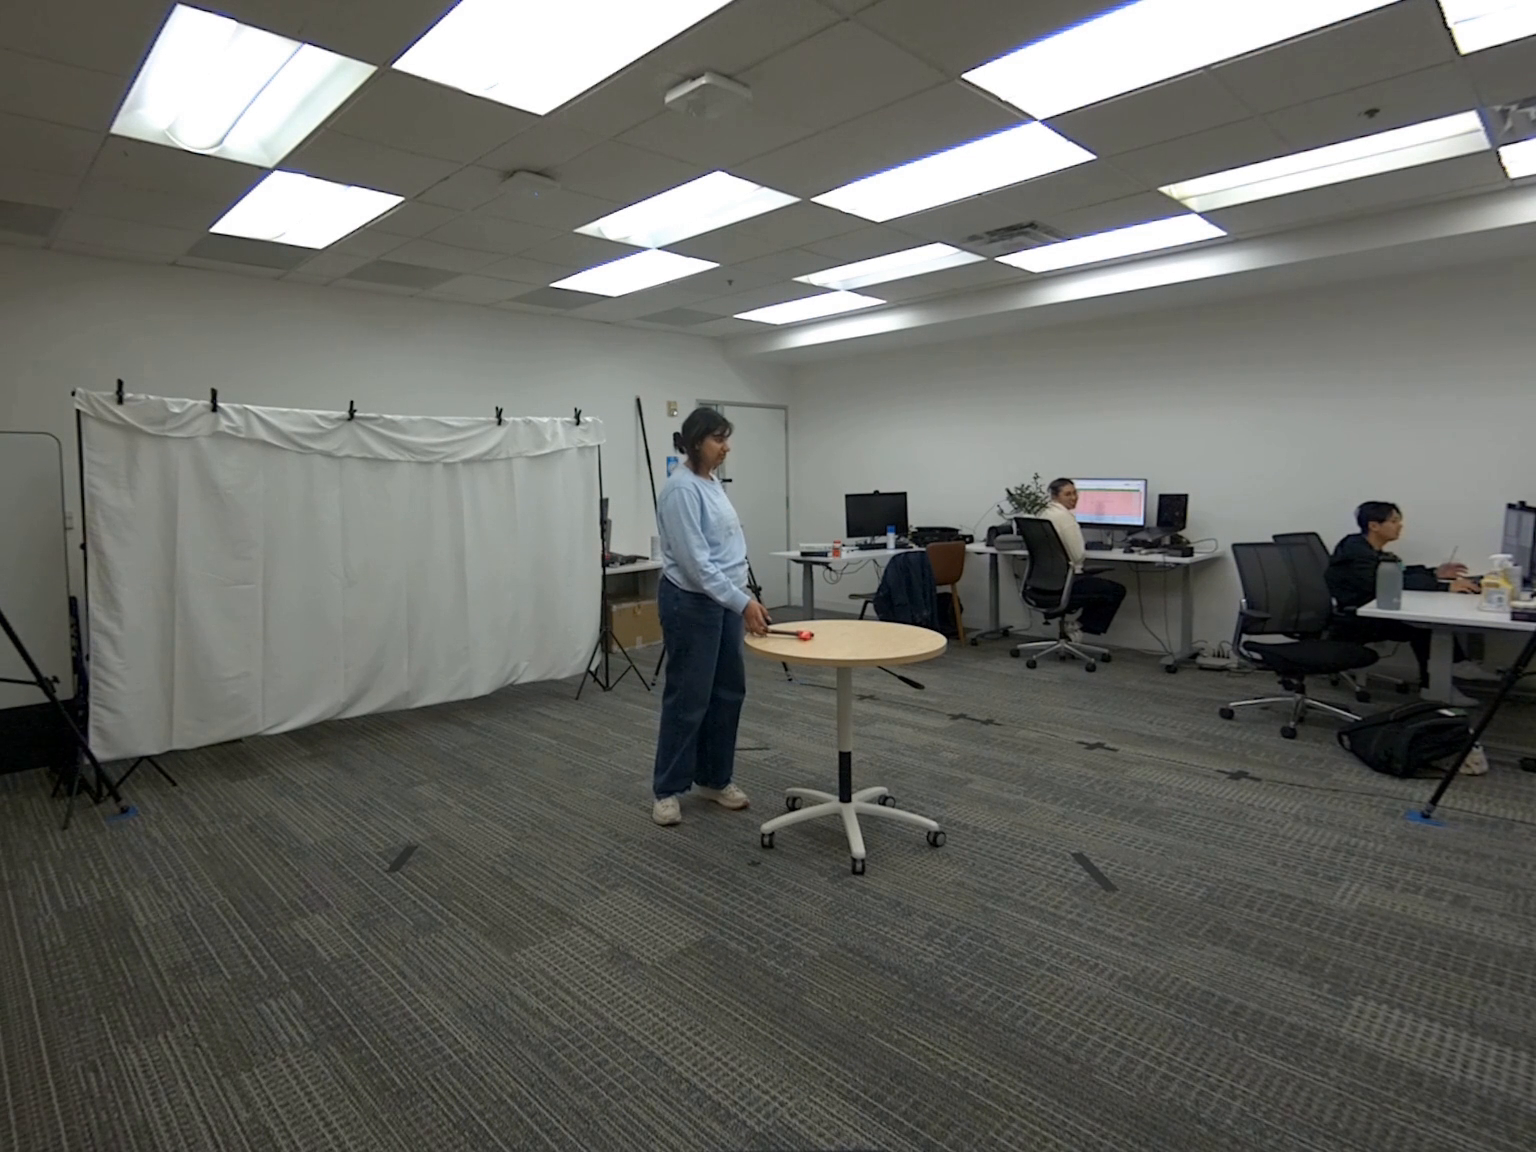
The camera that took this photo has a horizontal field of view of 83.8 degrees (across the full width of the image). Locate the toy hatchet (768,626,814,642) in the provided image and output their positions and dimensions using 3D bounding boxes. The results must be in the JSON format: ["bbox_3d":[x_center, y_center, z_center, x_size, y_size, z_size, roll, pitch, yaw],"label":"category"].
[{"bbox_3d":[0.063,0.217,3.326,0.278,0.029,0.127,5,6,36],"label":"toy hatchet"}]
